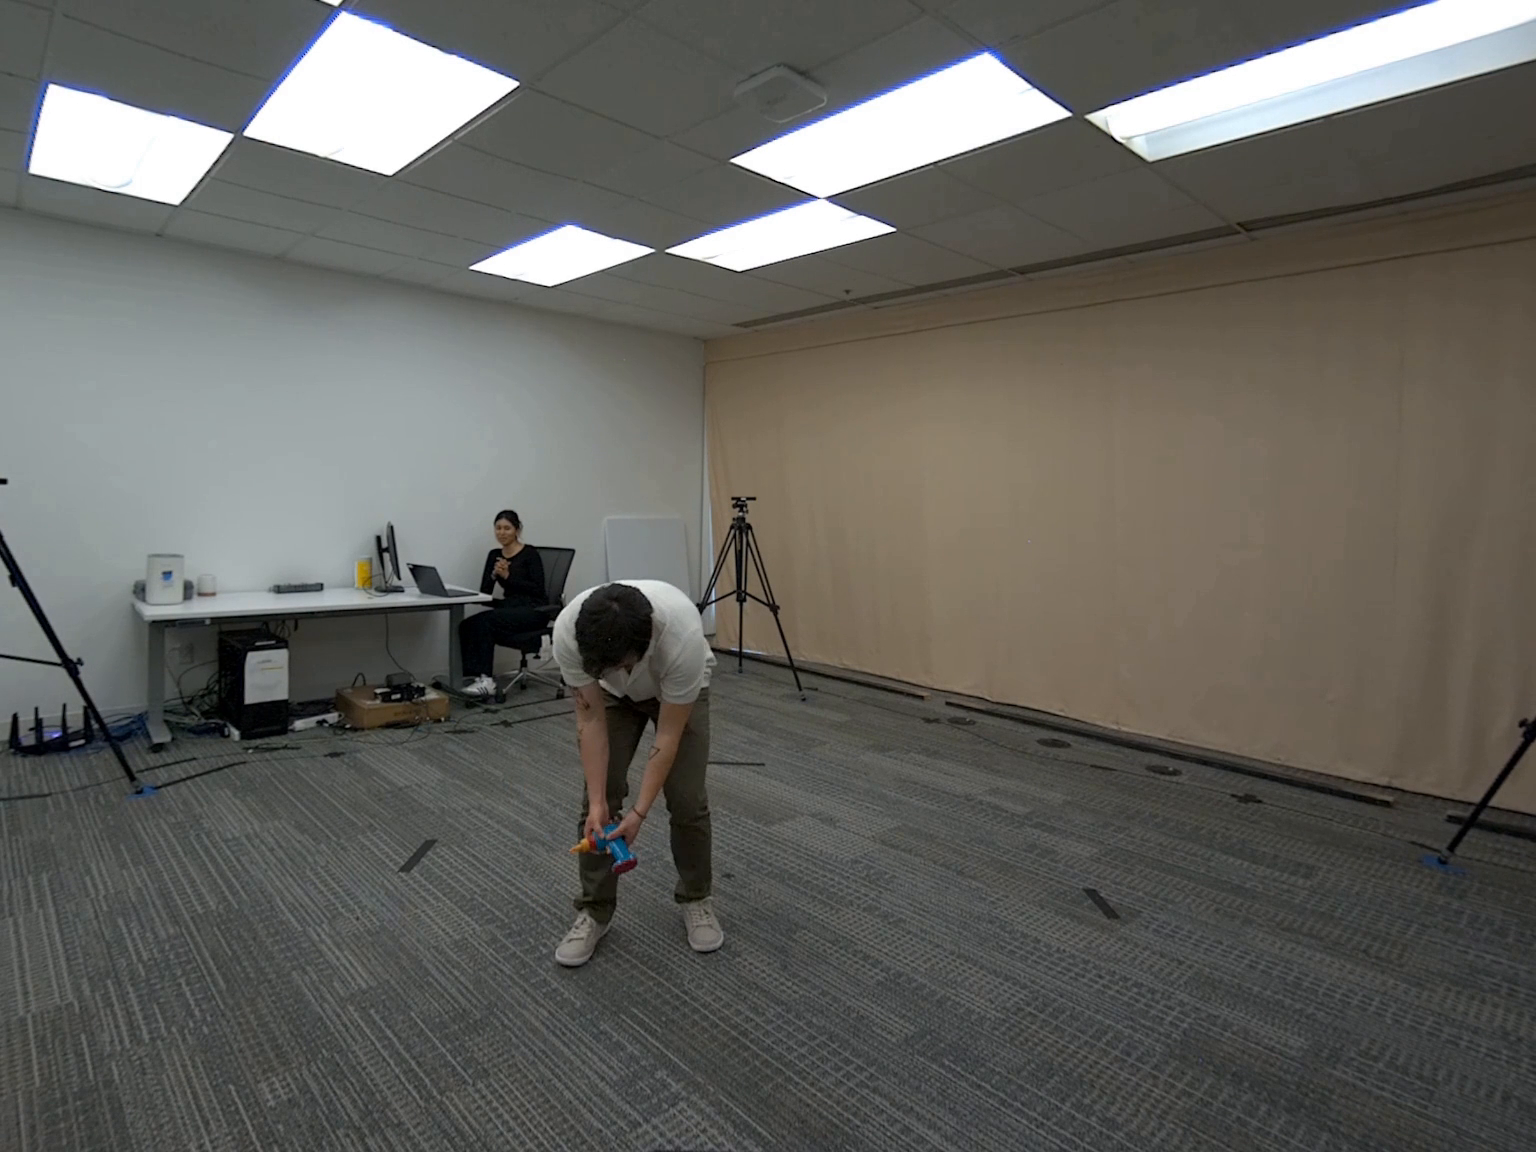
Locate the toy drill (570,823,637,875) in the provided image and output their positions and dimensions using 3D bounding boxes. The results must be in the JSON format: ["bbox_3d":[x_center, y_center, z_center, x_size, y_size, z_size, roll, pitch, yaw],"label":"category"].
[{"bbox_3d":[-0.475,0.772,2.352,0.167,0.060,0.151,-11,39,-22],"label":"toy drill"}]
